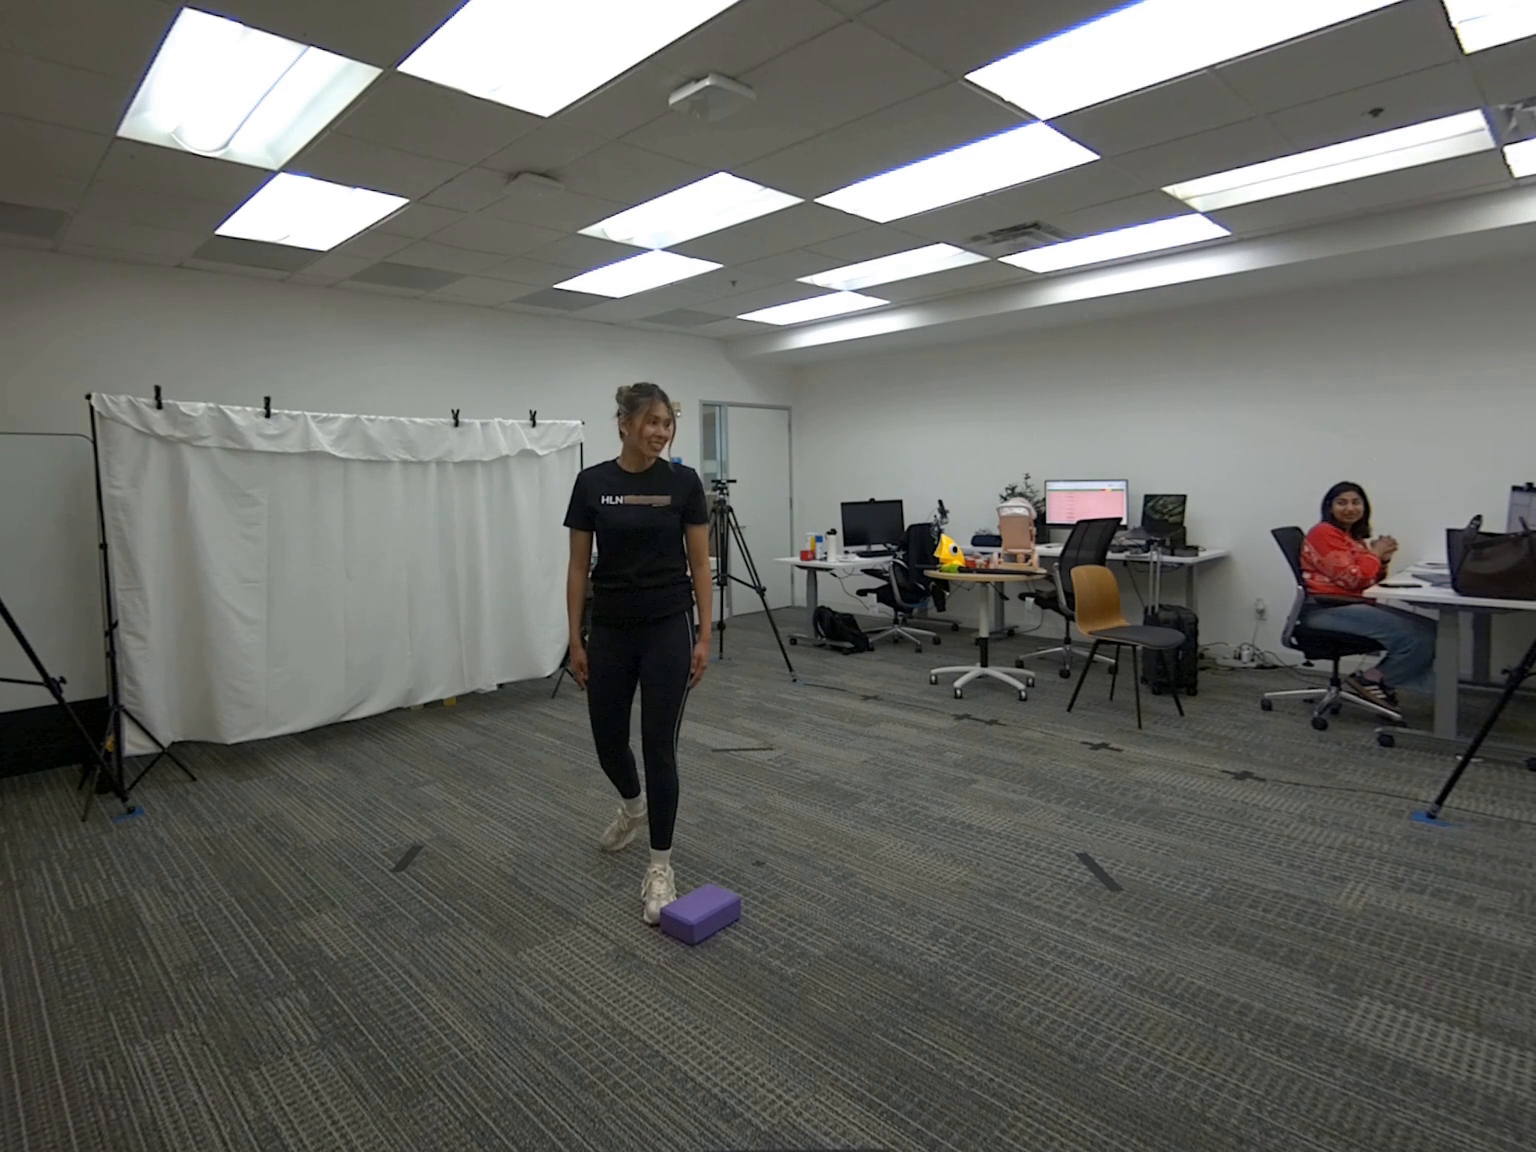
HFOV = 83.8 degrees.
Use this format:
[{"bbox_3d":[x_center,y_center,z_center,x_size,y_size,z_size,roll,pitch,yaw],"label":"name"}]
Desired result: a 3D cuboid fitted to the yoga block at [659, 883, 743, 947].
[{"bbox_3d":[-0.209,1.056,2.686,0.153,0.076,0.223,5,8,40],"label":"yoga block"}]
